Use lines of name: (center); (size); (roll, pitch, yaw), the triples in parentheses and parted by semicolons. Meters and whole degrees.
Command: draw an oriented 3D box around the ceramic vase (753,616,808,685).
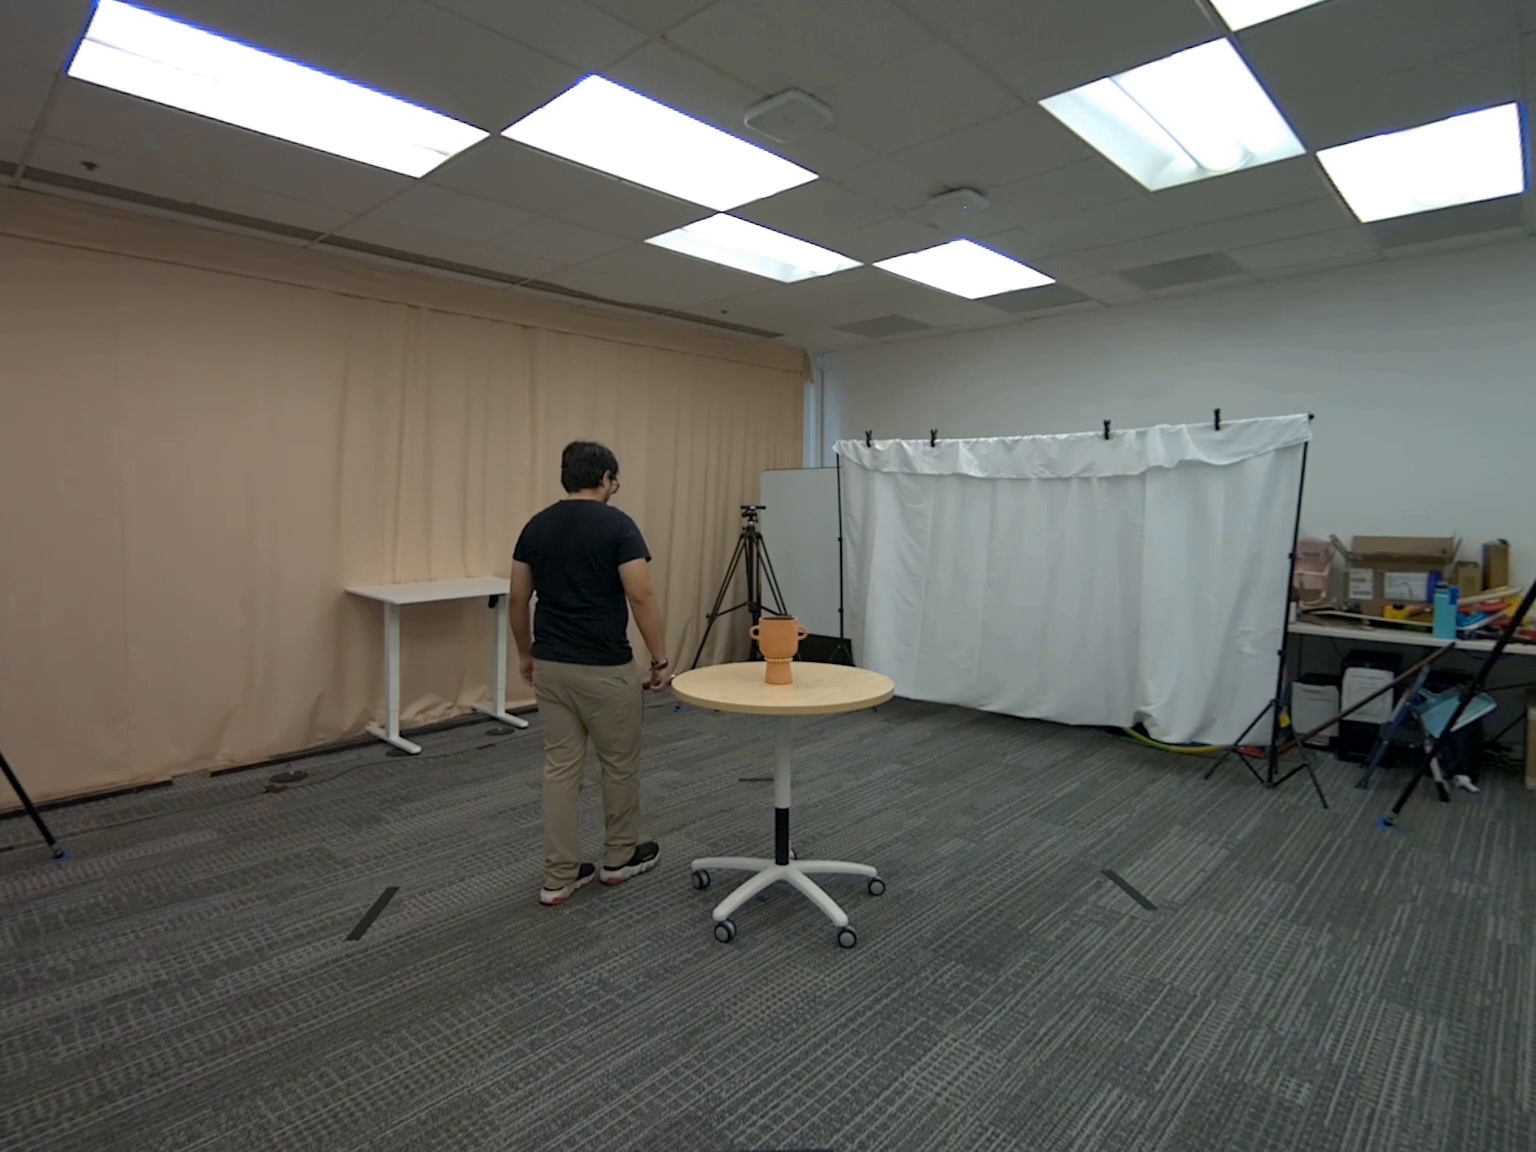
ceramic vase: (0.044, 0.258, 2.901); (0.164, 0.219, 0.130); (2, 3, 37)
